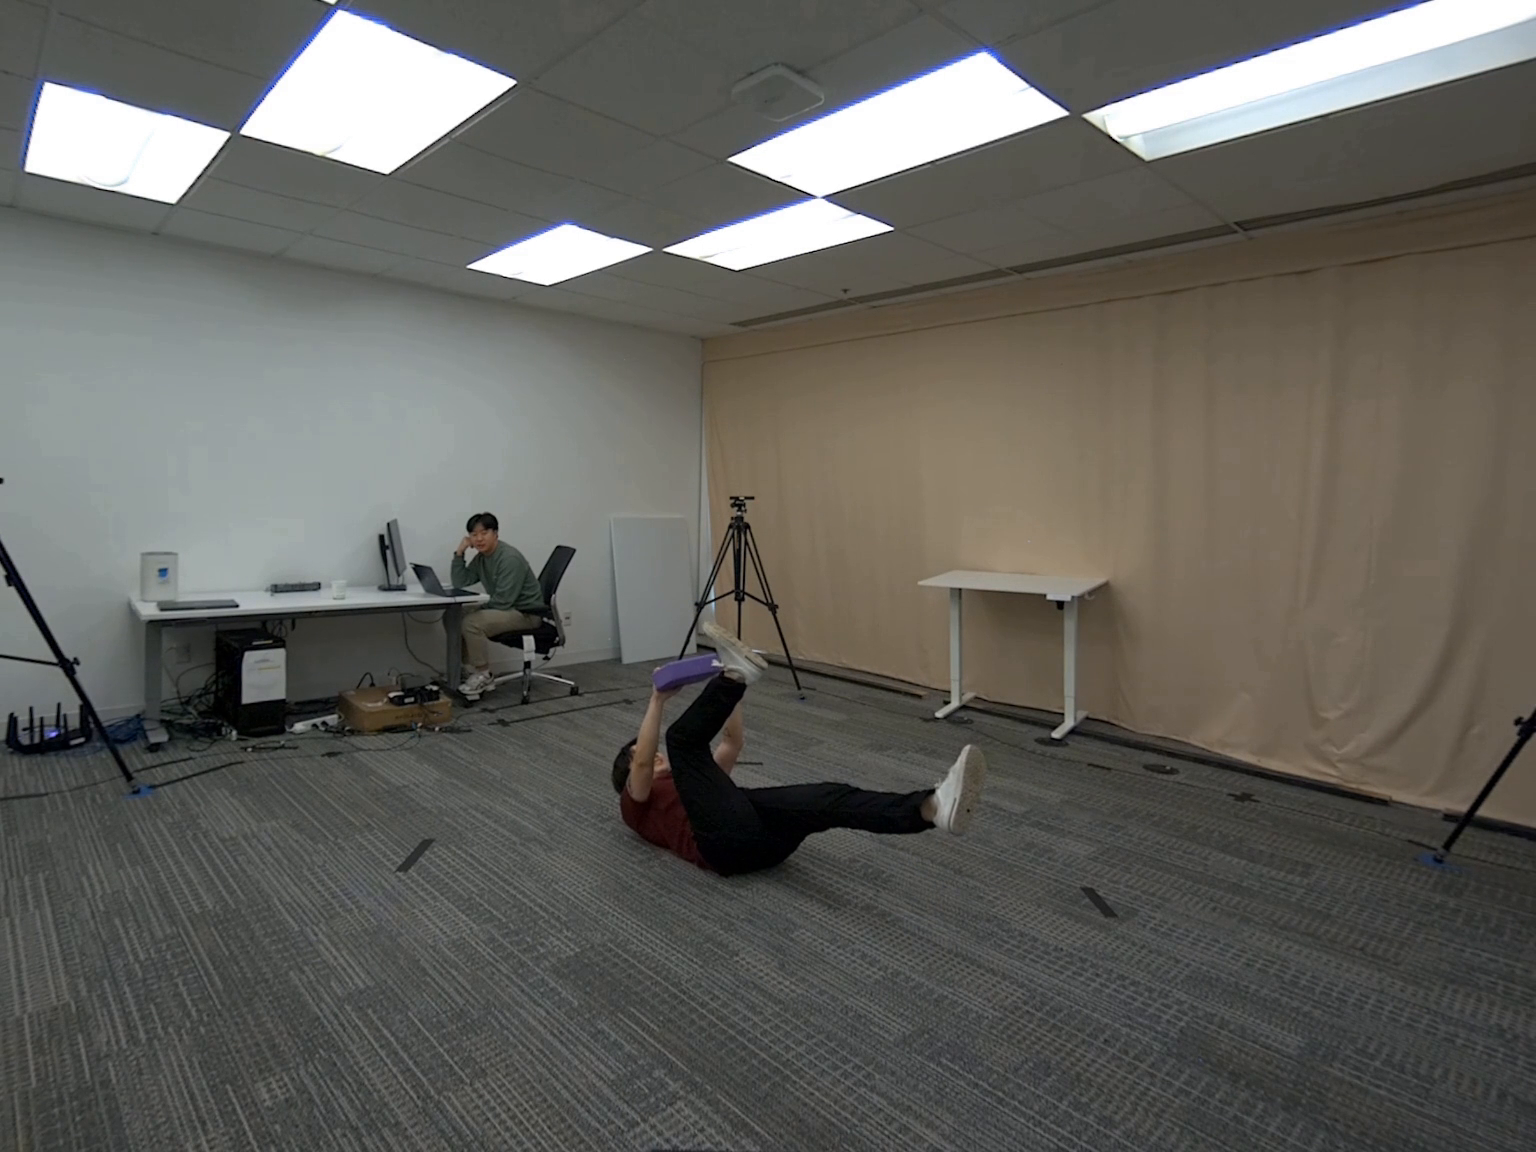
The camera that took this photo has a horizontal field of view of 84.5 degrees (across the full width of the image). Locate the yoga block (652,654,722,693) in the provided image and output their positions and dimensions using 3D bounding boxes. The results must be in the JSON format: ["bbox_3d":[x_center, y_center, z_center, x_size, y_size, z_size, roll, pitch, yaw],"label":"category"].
[{"bbox_3d":[-0.318,0.377,3.267,0.224,0.077,0.150,-7,-18,-39],"label":"yoga block"}]
